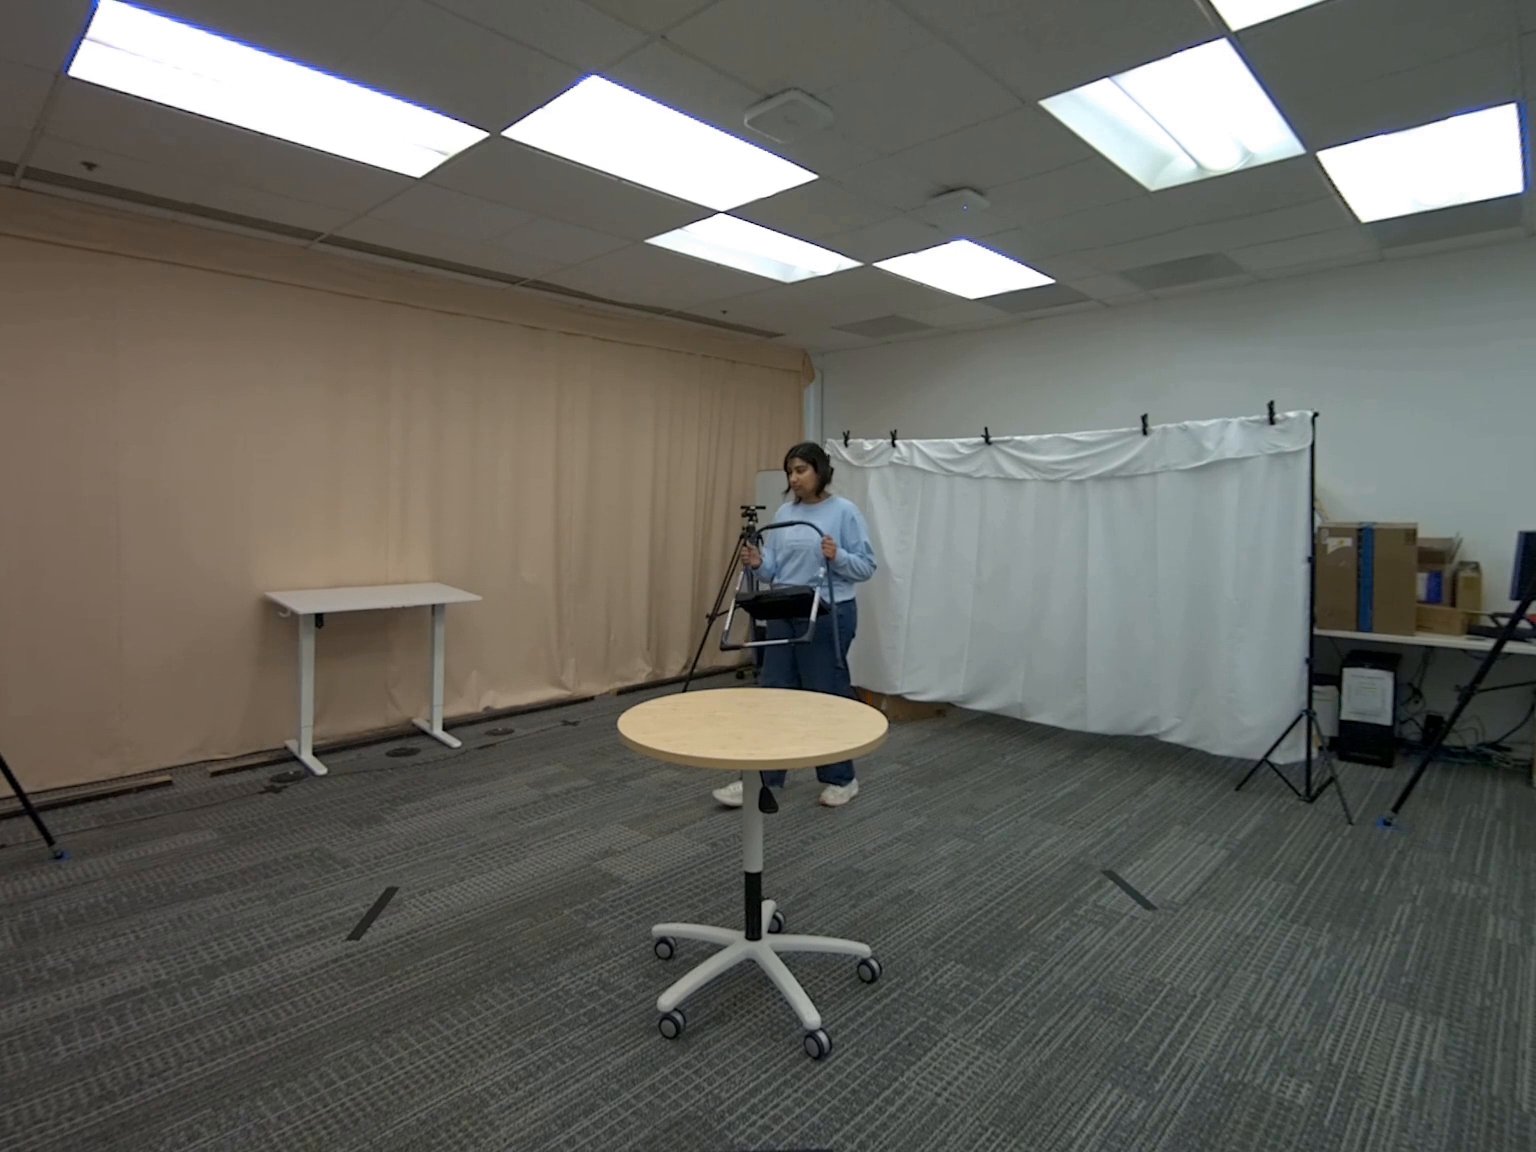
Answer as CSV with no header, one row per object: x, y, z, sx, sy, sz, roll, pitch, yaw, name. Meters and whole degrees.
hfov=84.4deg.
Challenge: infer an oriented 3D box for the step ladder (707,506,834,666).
0.073,0.075,3.647,0.441,0.613,0.337,-9,-27,27,step ladder
